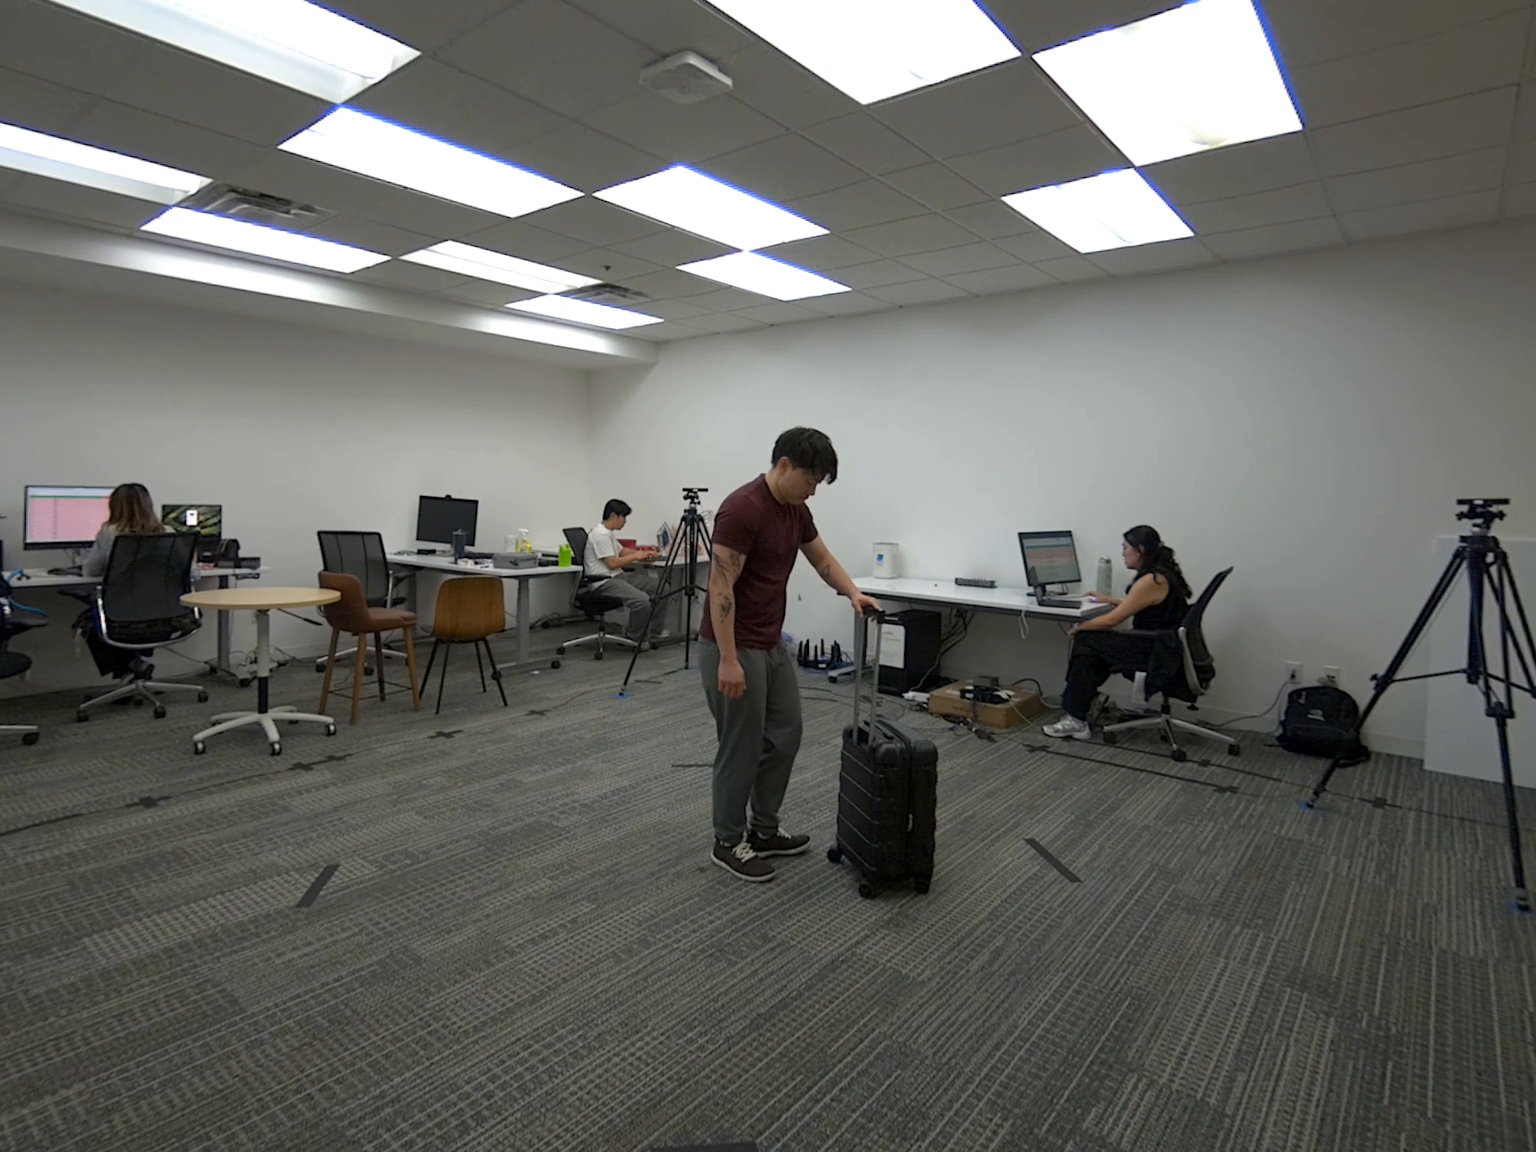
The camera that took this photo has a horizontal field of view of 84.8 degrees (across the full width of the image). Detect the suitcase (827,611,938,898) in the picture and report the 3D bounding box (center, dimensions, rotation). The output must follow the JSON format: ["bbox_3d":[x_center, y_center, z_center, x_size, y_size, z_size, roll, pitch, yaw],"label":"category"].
[{"bbox_3d":[0.438,0.617,3.068,0.253,0.977,0.391,5,2,-14],"label":"suitcase"}]
